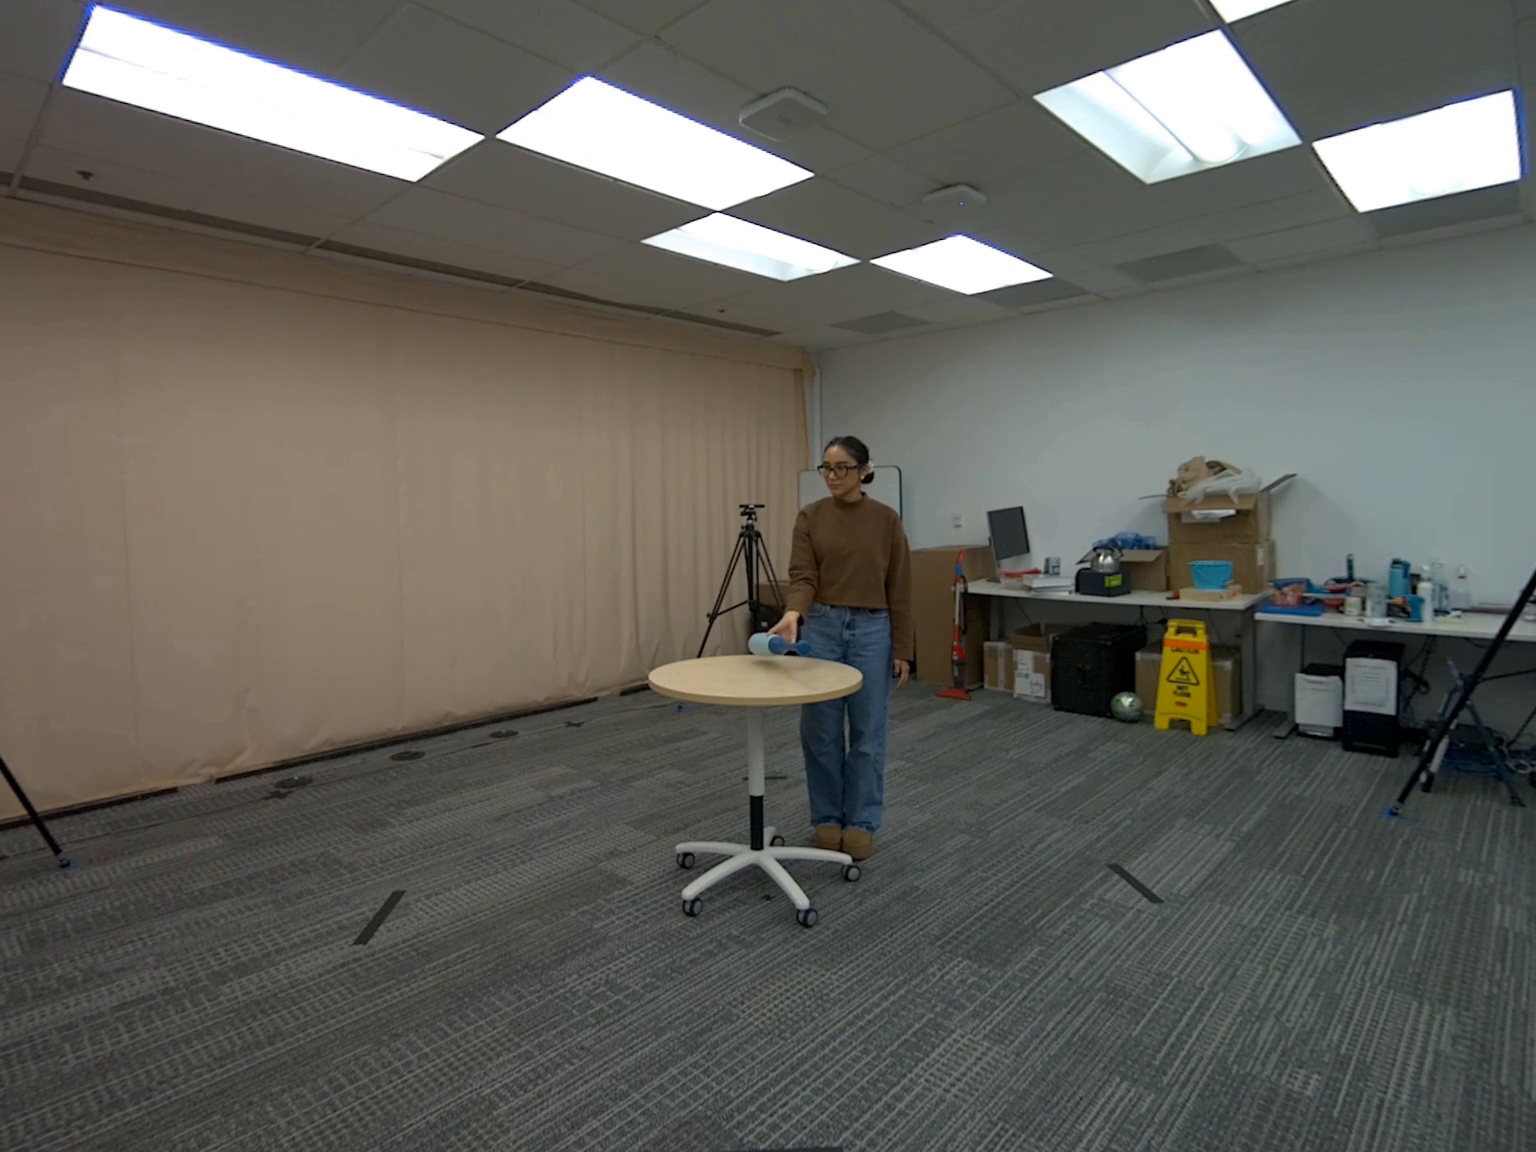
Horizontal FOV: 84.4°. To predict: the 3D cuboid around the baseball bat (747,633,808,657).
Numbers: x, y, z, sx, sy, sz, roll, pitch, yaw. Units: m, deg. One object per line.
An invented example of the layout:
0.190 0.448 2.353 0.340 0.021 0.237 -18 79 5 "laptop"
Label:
0.035 0.256 3.043 0.088 0.089 0.550 -2 -2 -16 "baseball bat"
